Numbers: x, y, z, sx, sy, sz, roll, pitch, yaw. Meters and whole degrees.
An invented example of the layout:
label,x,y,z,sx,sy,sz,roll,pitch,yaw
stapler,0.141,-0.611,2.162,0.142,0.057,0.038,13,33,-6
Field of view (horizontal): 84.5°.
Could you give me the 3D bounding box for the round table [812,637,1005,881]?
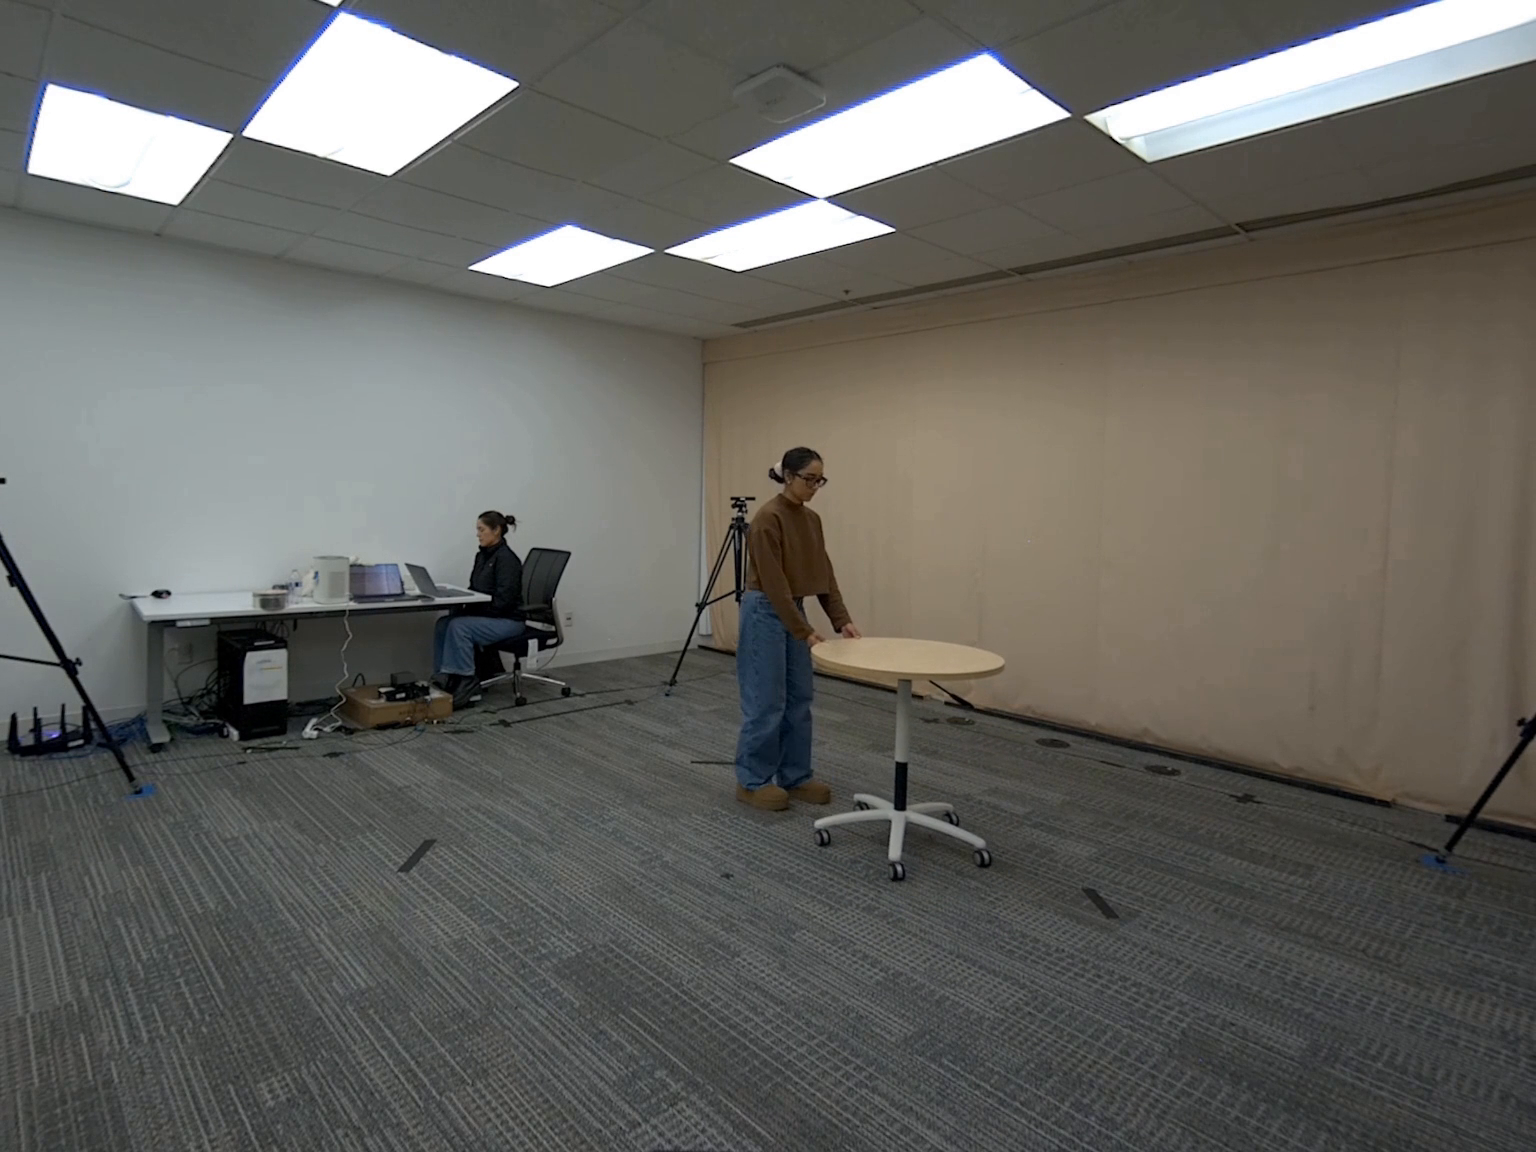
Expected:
label,x,y,z,sx,sy,sz,roll,pitch,yaw
round table,0.536,0.706,3.426,0.763,0.792,0.766,2,4,-1
